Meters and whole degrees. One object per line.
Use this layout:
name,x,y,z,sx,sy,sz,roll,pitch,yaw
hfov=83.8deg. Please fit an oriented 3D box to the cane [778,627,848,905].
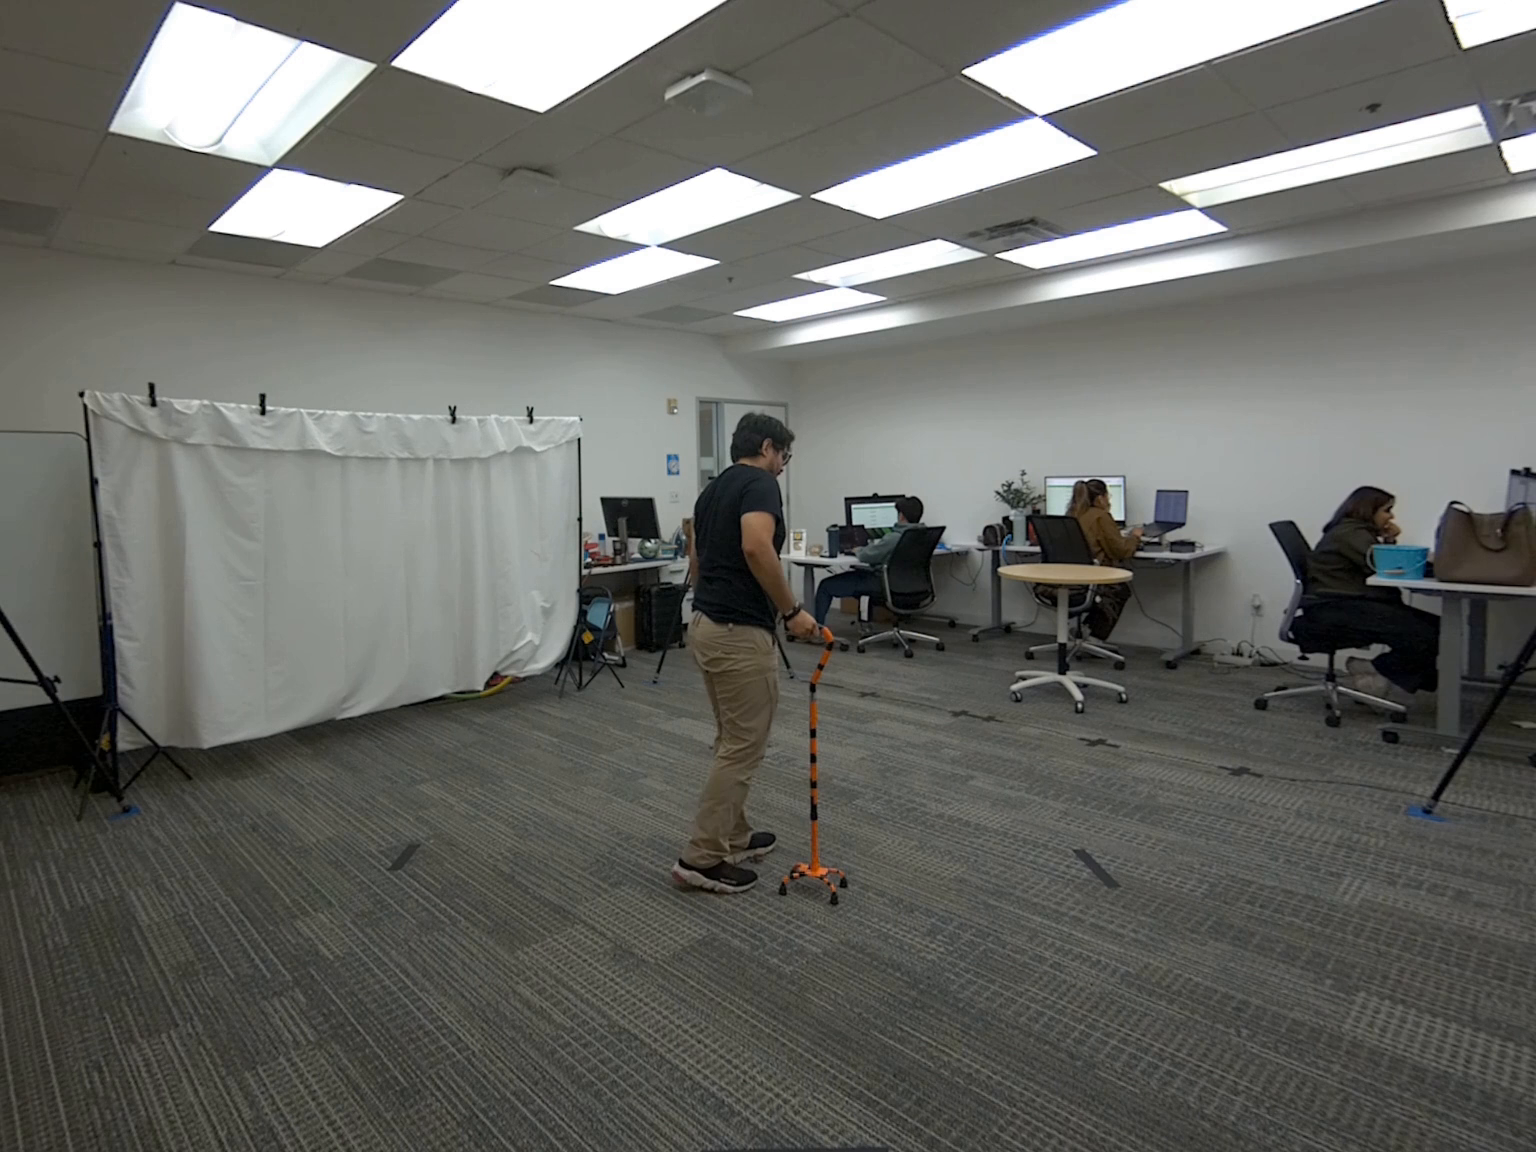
cane,0.157,0.600,2.843,0.210,0.904,0.149,1,4,20
